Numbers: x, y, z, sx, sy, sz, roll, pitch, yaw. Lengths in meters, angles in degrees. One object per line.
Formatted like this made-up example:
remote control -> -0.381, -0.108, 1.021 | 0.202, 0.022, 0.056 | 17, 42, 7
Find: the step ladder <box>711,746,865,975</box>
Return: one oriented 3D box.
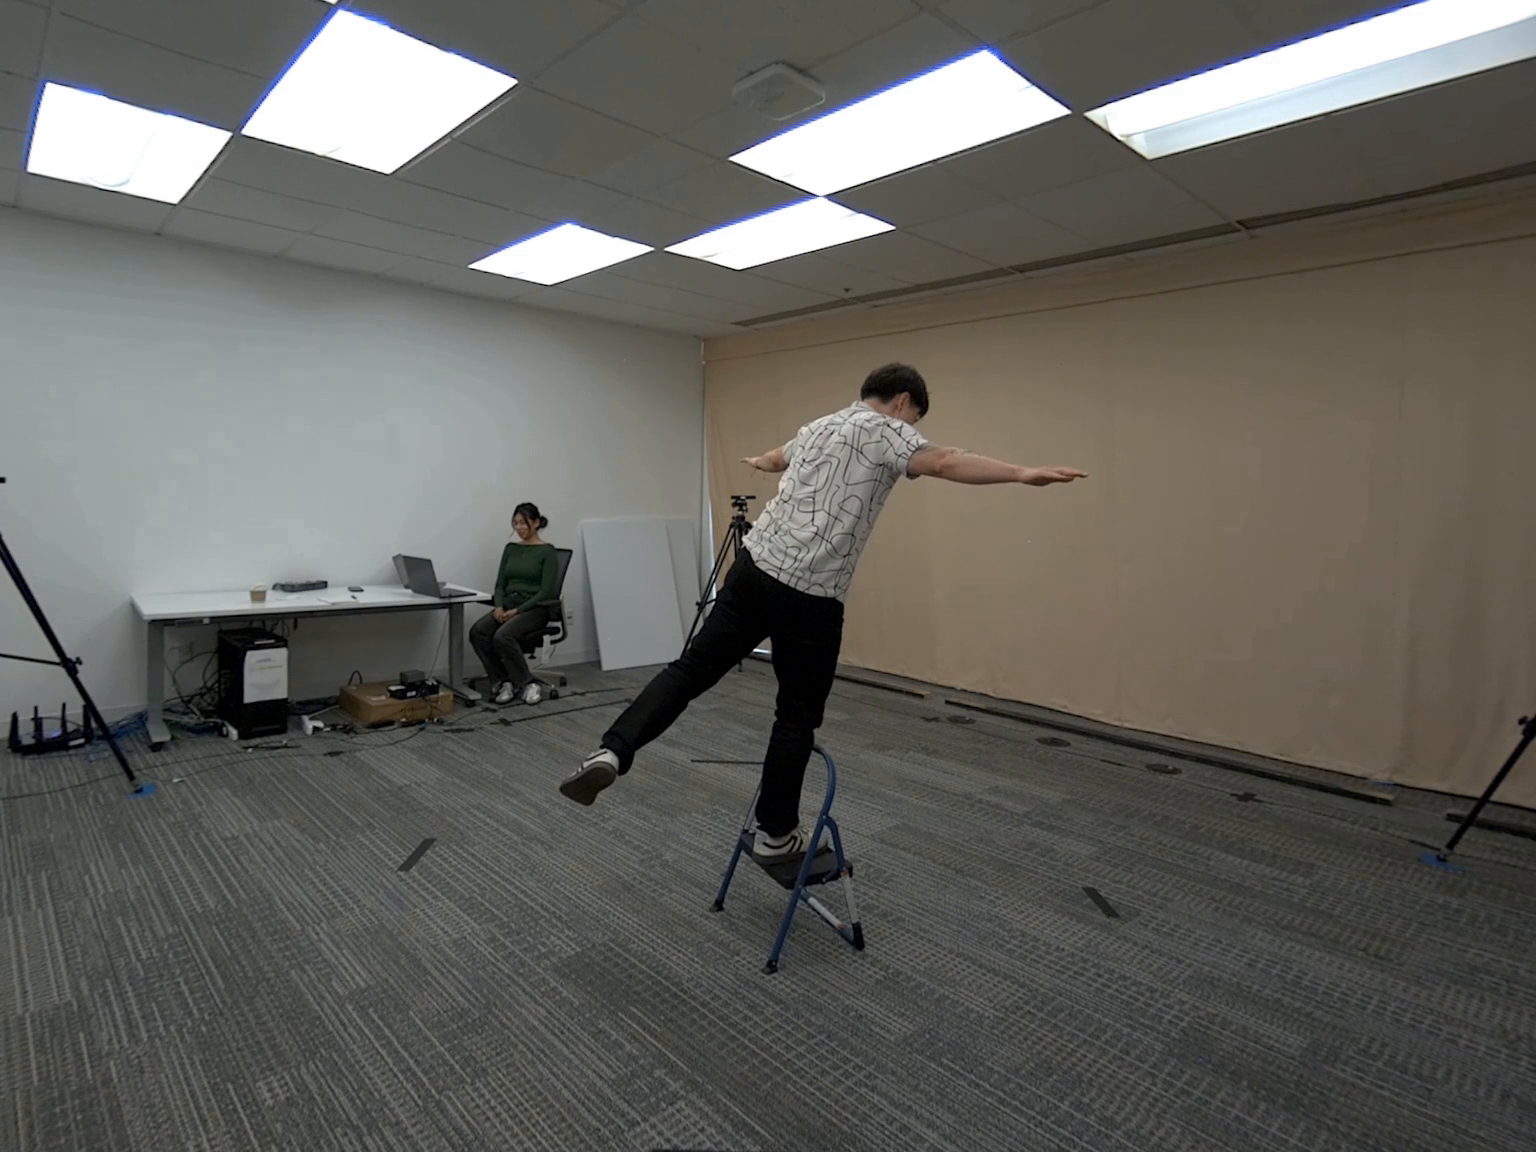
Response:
step ladder -> 0.057, 0.841, 2.703 | 0.343, 0.604, 0.440 | -1, 4, -27
